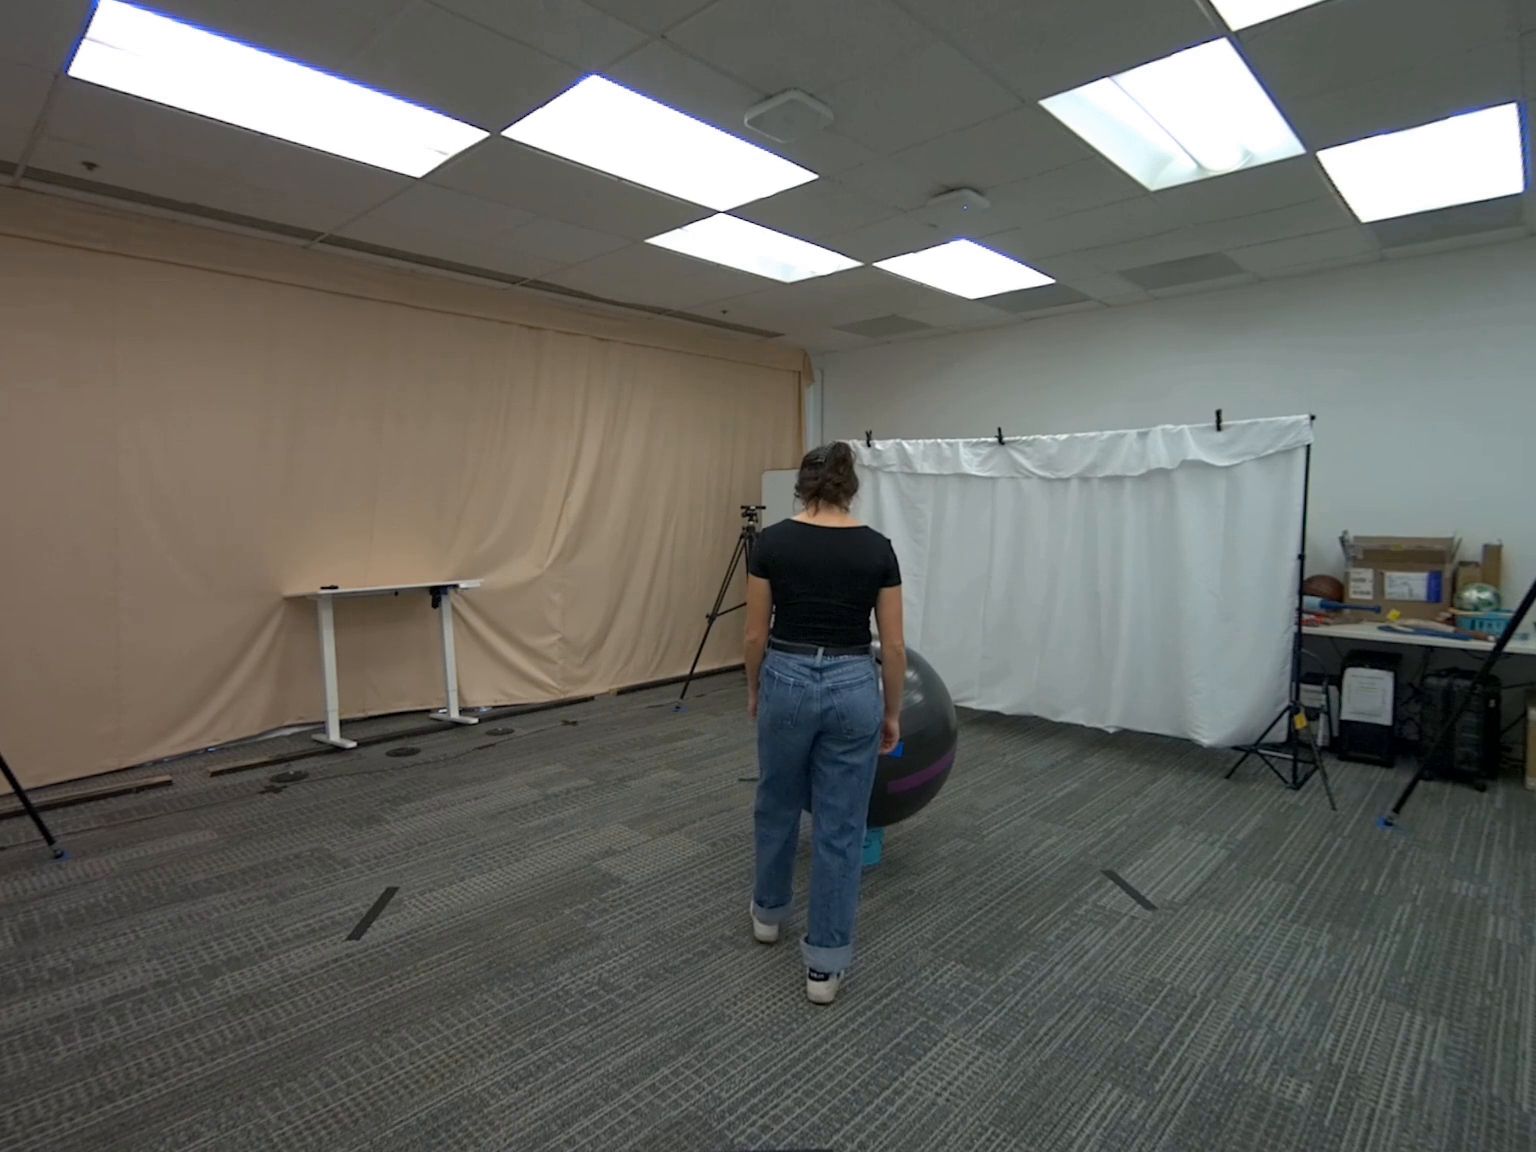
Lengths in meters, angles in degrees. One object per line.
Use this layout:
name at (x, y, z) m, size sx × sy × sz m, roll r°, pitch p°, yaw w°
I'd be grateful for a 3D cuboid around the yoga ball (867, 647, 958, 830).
yoga ball at (0.363, 0.606, 3.317) m, size 0.757 × 0.756 × 0.761 m, roll 0°, pitch 4°, yaw -2°
